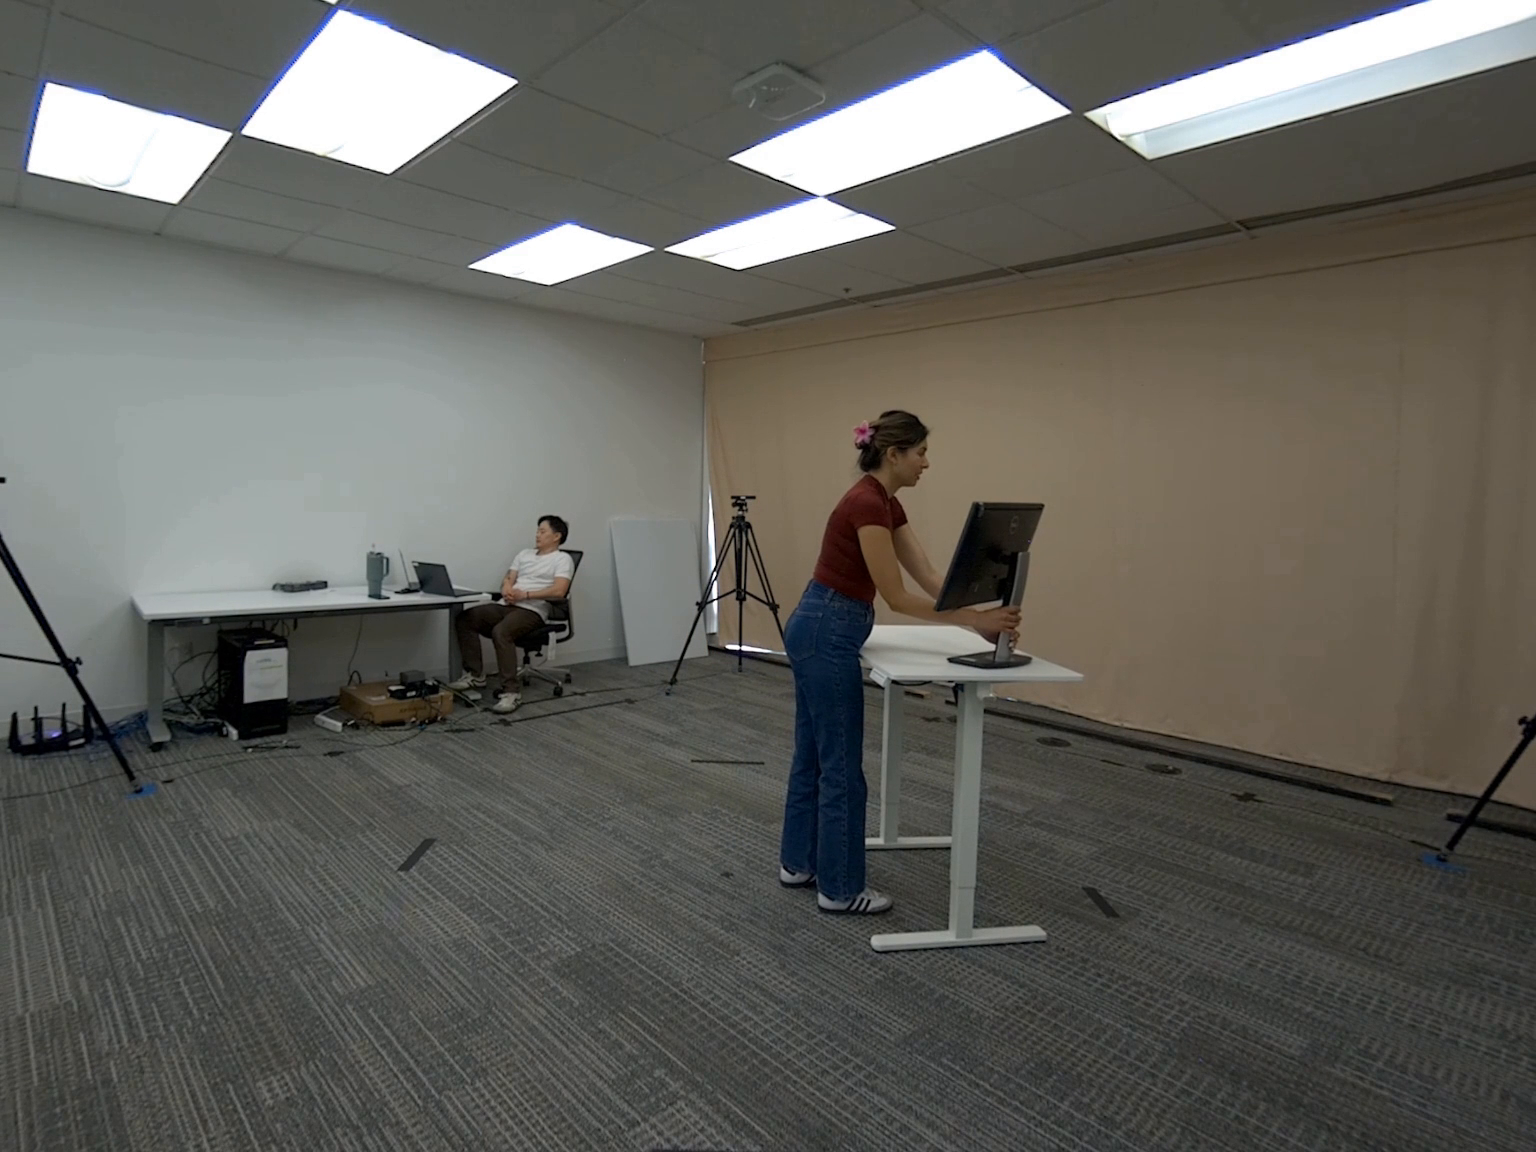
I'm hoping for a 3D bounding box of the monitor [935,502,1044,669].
[{"bbox_3d":[0.728,0.021,2.694,0.192,0.521,0.527,6,6,41],"label":"monitor"}]
